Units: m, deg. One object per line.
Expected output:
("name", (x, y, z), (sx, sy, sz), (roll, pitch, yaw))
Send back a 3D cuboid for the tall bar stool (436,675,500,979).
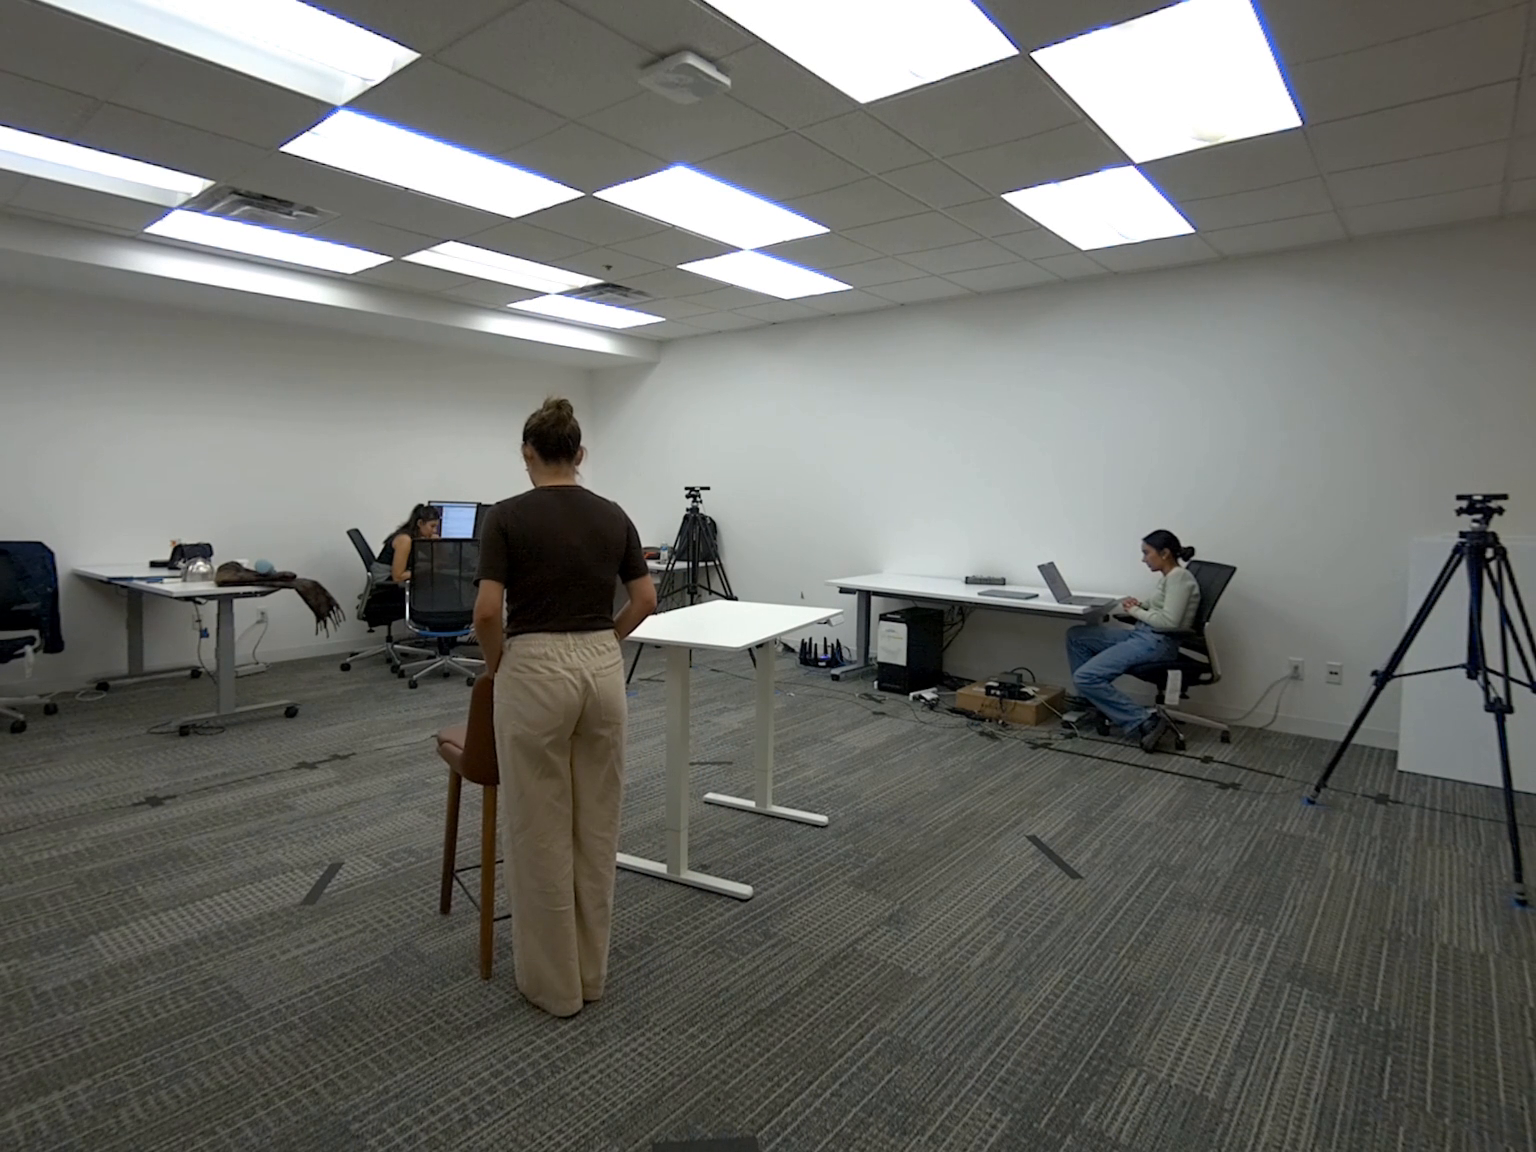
("tall bar stool", (-0.775, 0.666, 2.641), (0.444, 0.886, 0.483), (-1, 5, -32))
